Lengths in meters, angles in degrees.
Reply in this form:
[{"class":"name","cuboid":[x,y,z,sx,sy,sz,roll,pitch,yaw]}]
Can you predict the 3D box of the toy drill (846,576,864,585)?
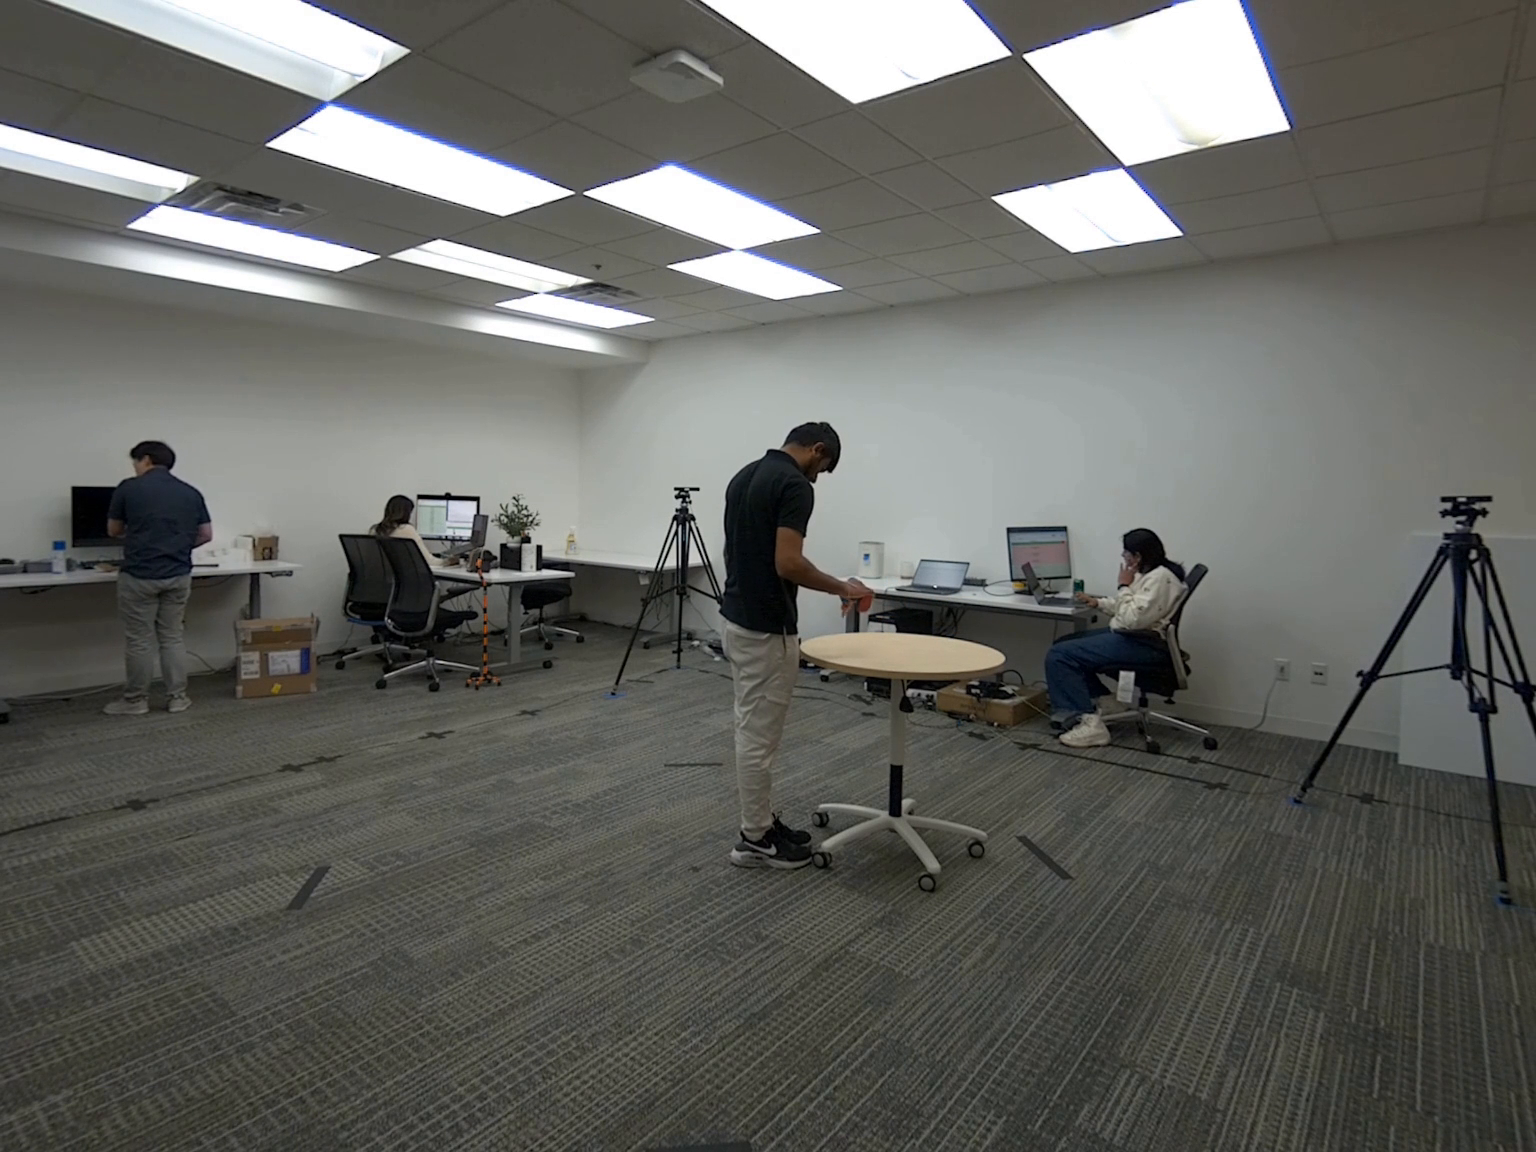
[{"class":"toy drill","cuboid":[0.308,0.099,3.138,0.059,0.167,0.152,4,22,-25]}]
